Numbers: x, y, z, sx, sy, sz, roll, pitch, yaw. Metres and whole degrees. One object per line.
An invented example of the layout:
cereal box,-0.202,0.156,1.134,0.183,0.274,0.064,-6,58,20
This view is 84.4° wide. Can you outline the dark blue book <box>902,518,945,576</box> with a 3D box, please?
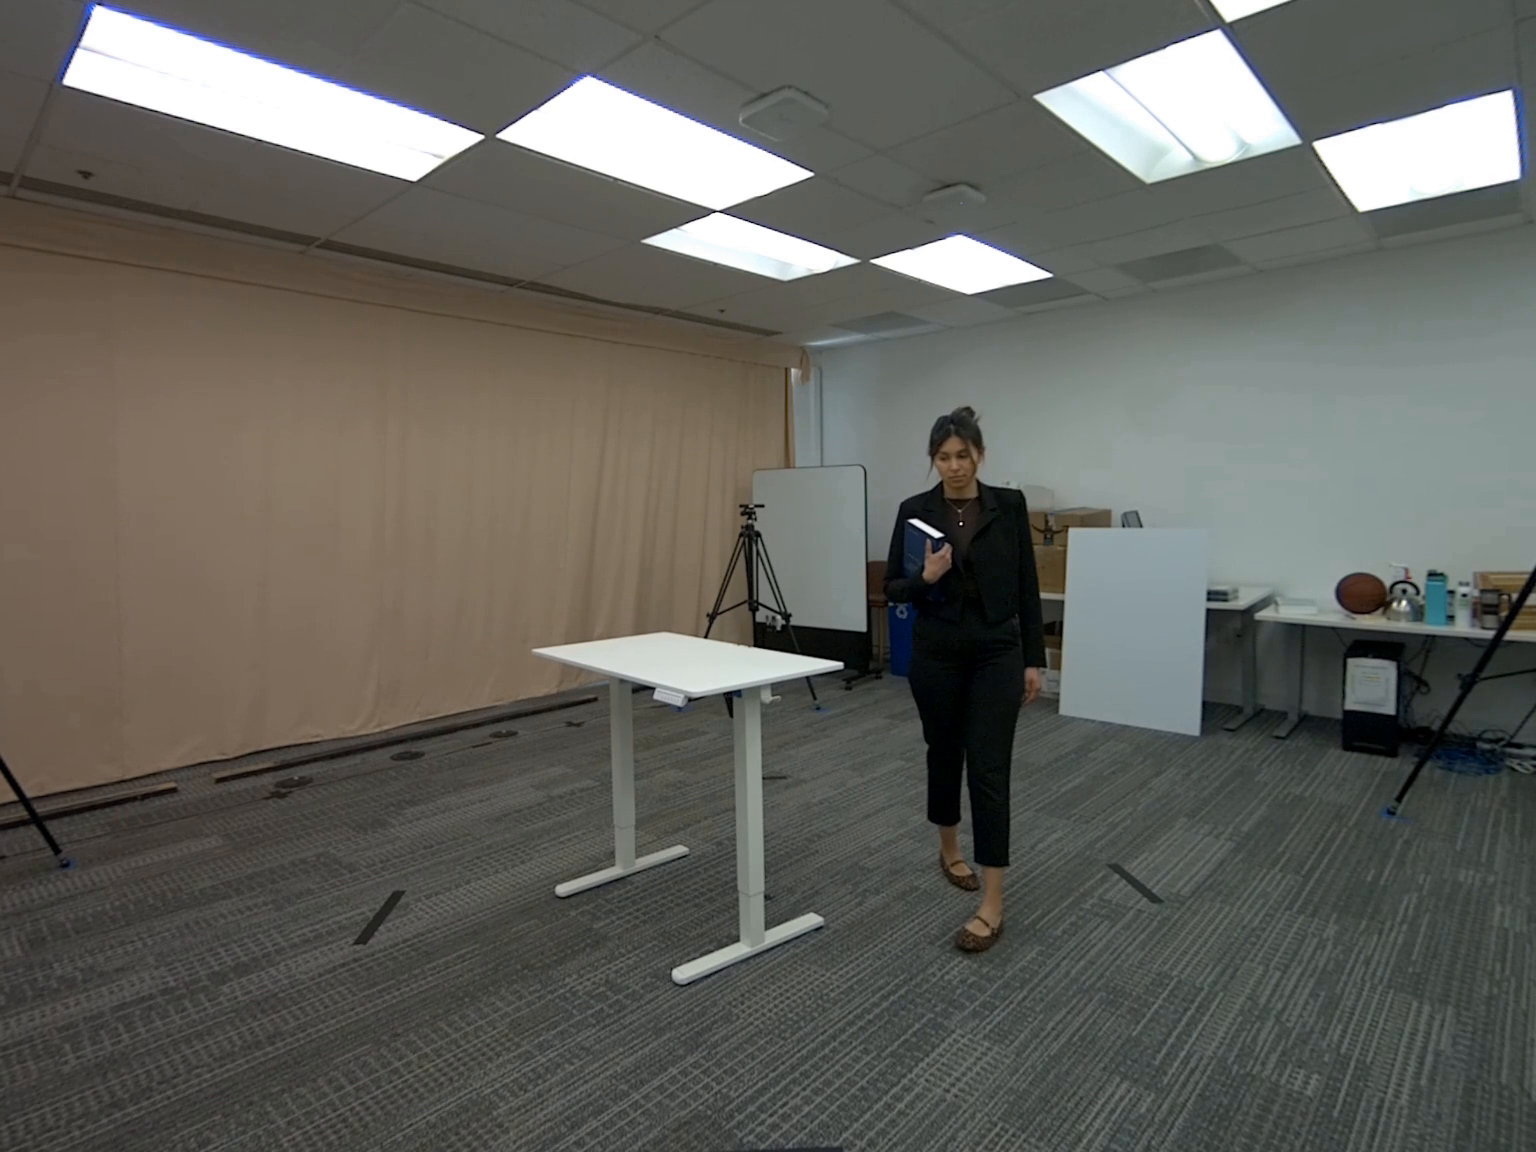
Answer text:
dark blue book,0.532,-0.059,2.900,0.044,0.241,0.169,-17,32,-23
